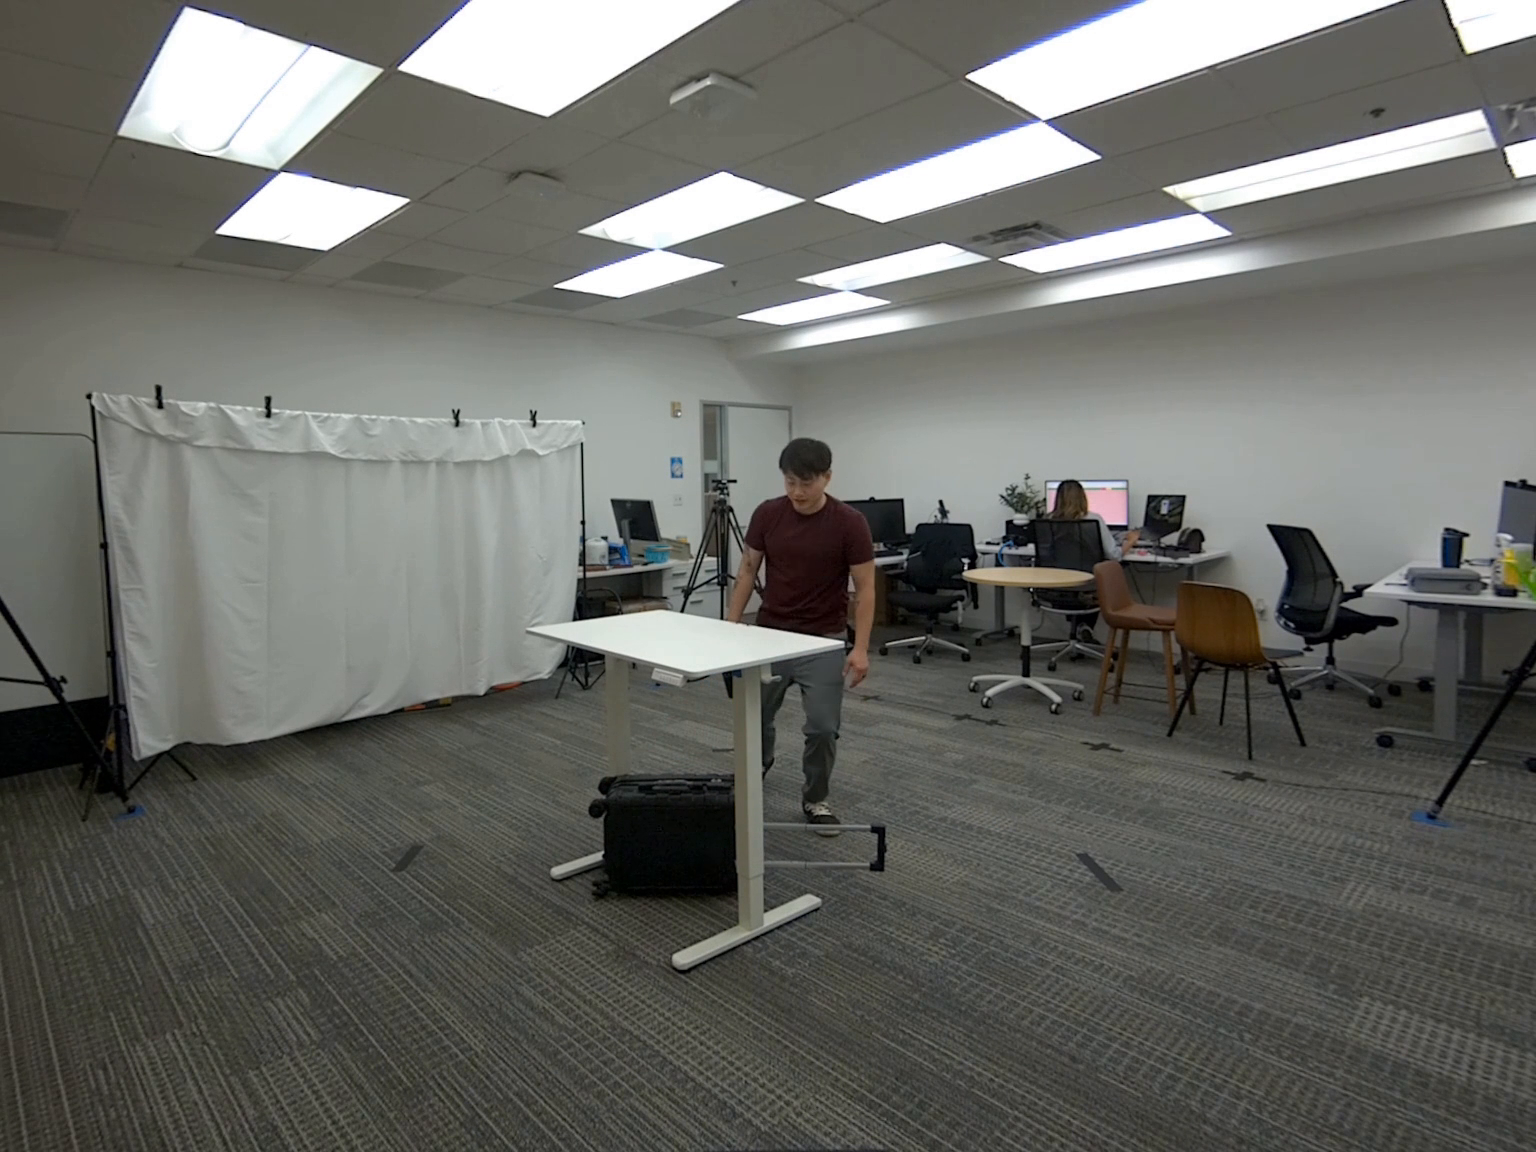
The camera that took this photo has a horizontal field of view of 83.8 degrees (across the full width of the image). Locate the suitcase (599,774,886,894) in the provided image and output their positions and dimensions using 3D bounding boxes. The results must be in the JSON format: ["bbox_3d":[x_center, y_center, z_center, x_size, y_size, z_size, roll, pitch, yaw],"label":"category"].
[{"bbox_3d":[-0.110,0.878,2.954,0.977,0.382,0.258,-1,5,-1],"label":"suitcase"}]
